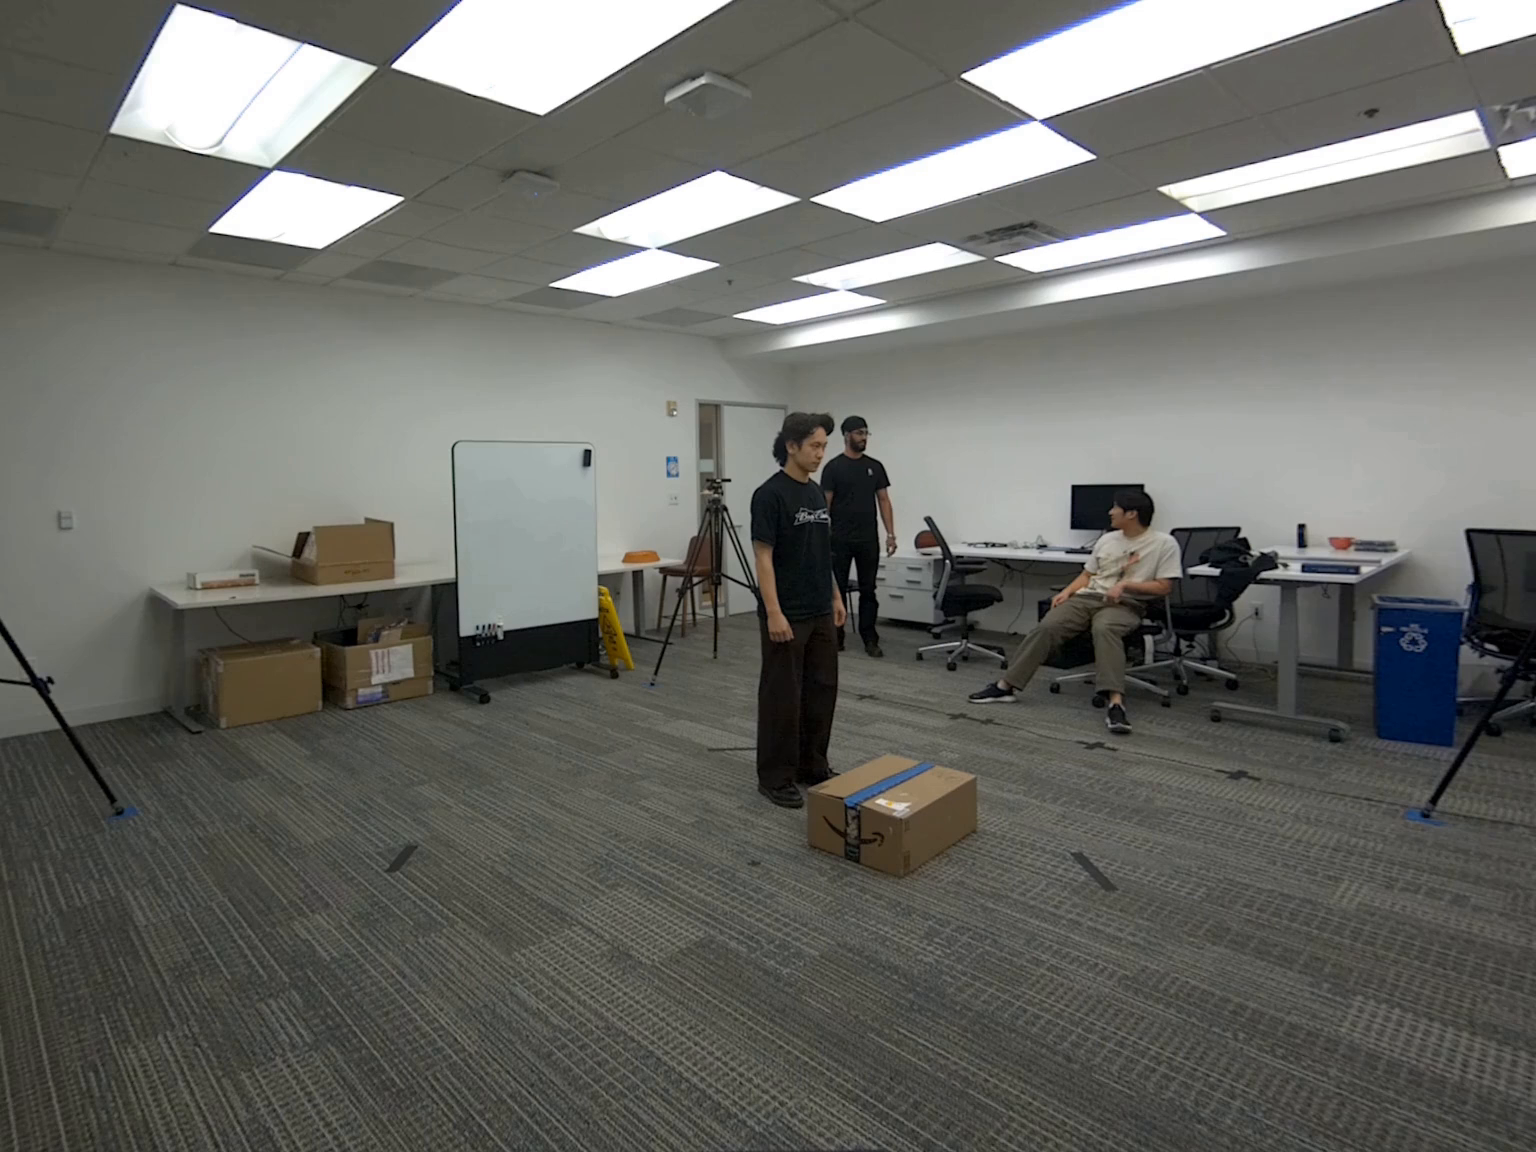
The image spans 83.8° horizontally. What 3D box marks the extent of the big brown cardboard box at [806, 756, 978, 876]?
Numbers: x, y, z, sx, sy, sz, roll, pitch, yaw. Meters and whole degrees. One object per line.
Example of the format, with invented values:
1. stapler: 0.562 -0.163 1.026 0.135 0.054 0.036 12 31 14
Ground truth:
1. big brown cardboard box: 0.479 0.899 3.298 0.430 0.232 0.573 4 6 41
